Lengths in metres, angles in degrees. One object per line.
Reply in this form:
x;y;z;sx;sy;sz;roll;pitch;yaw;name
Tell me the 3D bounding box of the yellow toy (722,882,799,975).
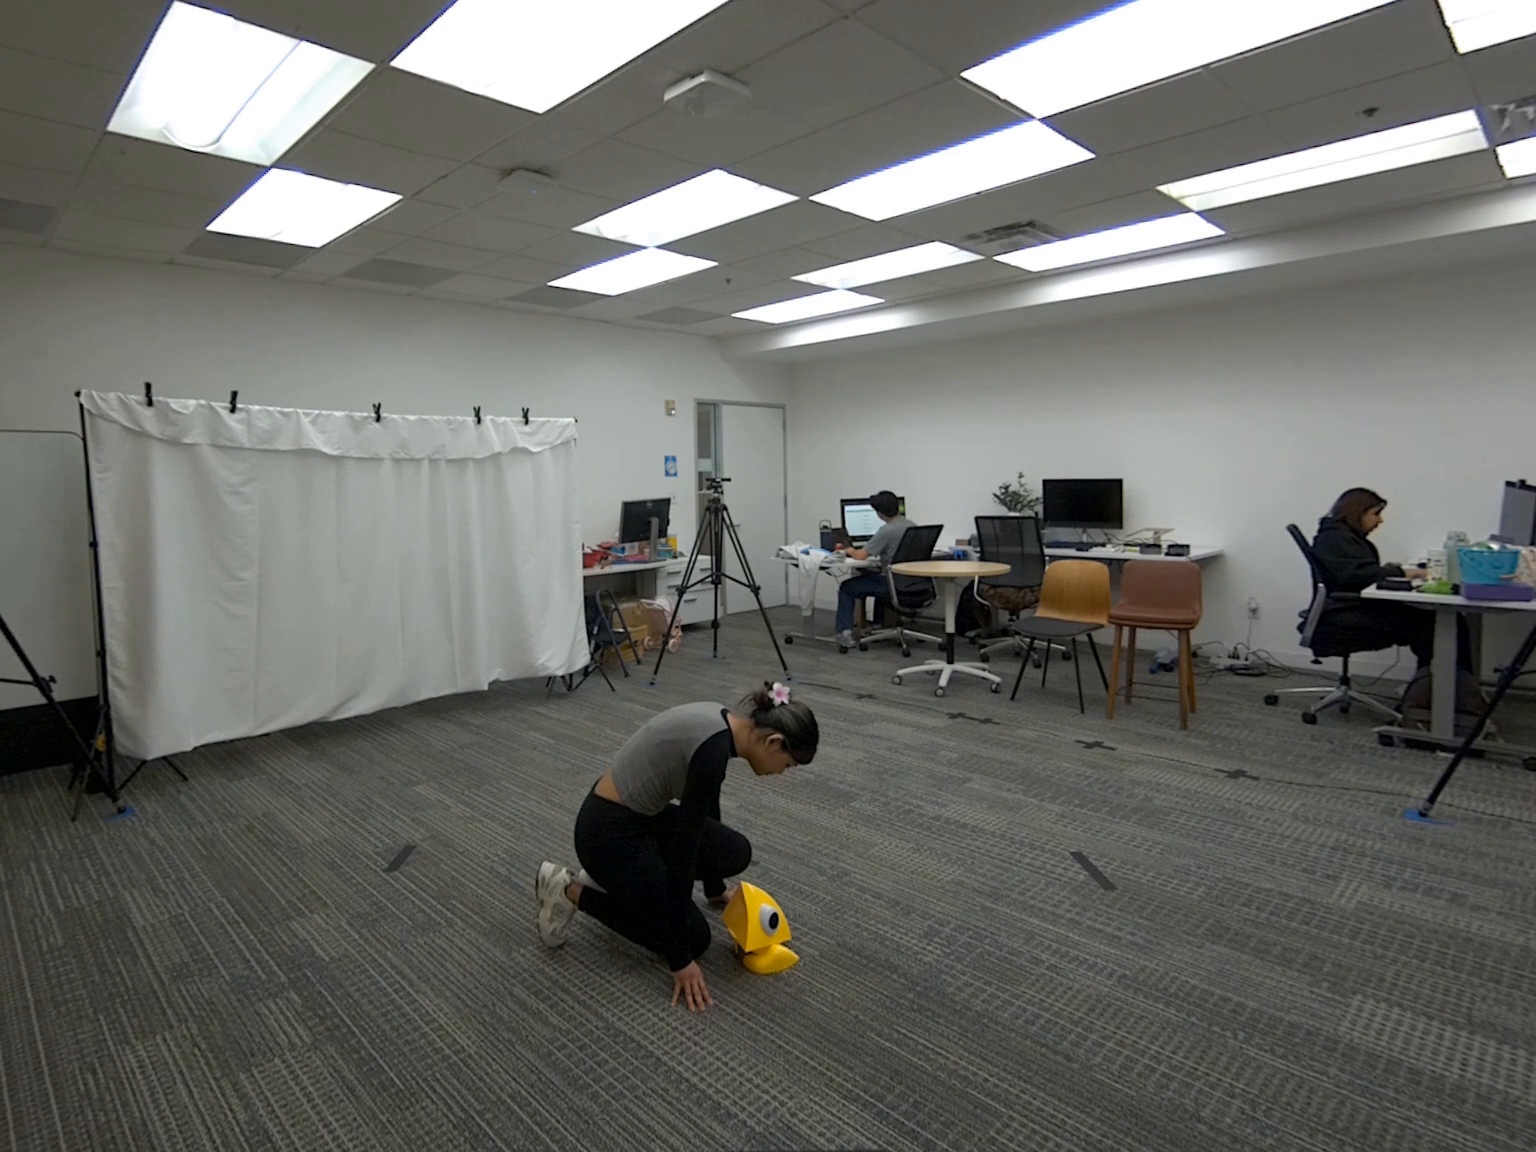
-0.020;0.995;2.504;0.189;0.230;0.209;-3;6;-22;yellow toy
